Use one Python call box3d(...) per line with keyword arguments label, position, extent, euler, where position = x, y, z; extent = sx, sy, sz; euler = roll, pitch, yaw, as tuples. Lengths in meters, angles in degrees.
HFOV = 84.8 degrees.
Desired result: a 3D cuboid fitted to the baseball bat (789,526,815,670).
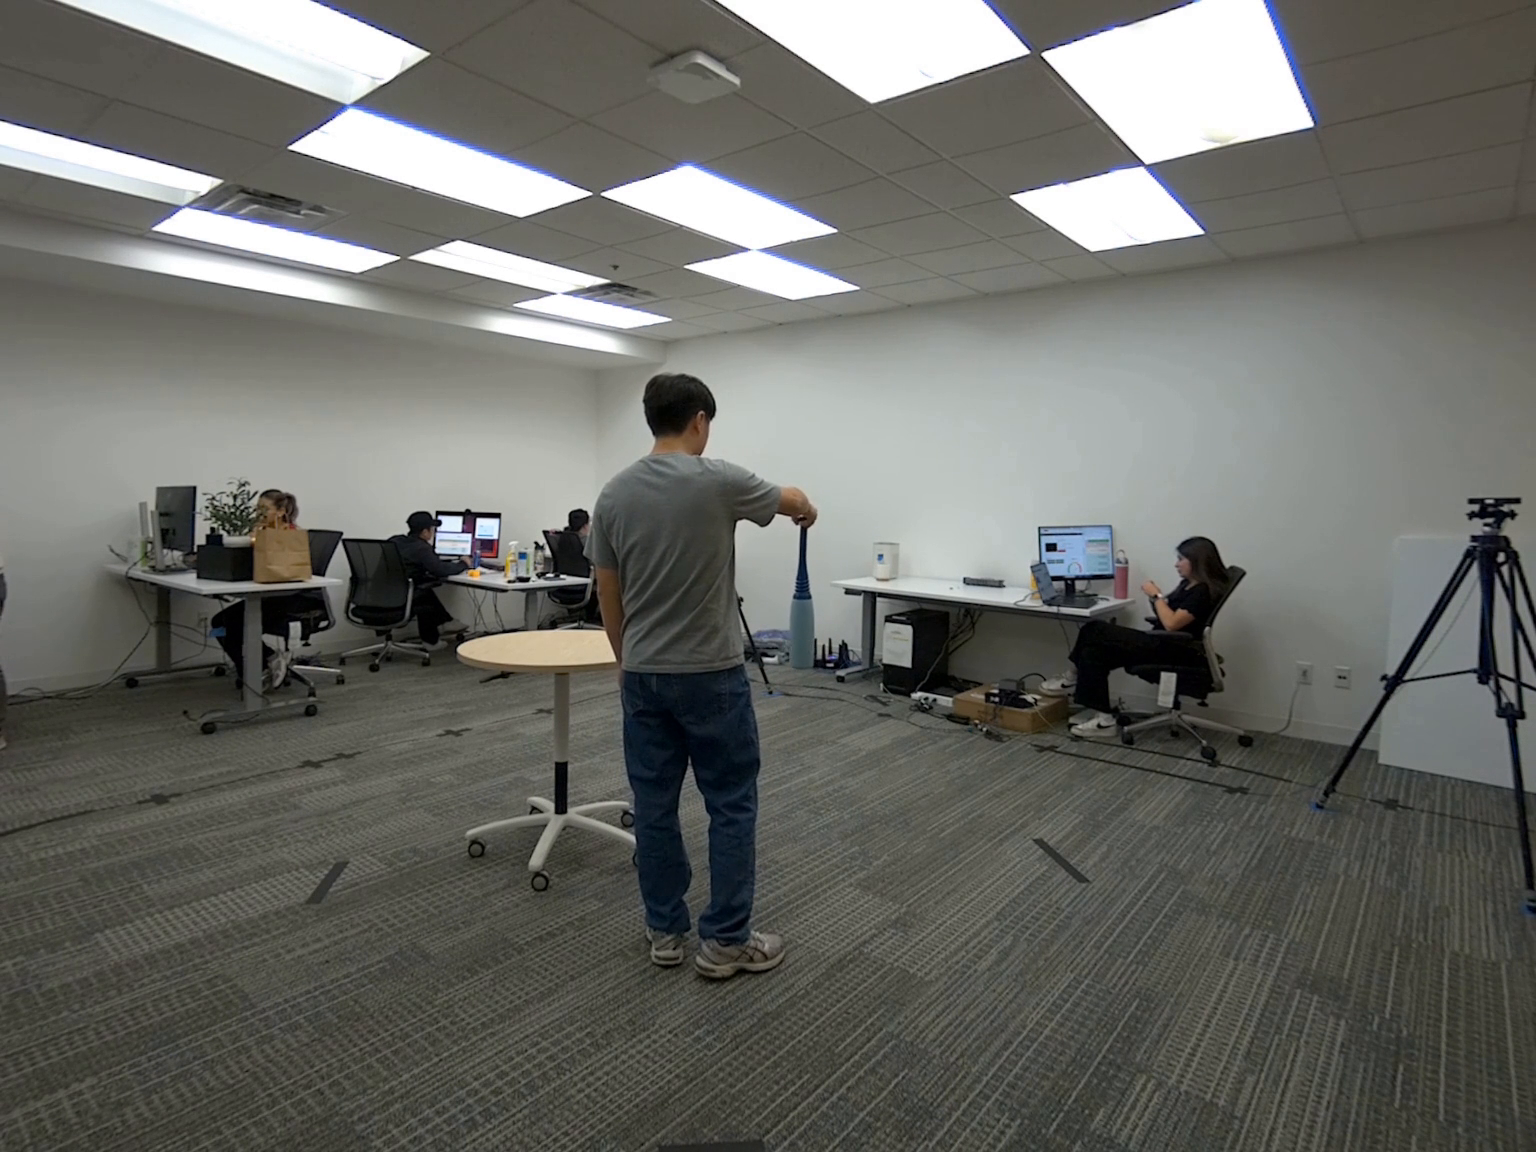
box3d(label="baseball bat", position=(0.115, 0.057, 2.991), extent=(0.089, 0.540, 0.089), euler=(0, 6, -2))
